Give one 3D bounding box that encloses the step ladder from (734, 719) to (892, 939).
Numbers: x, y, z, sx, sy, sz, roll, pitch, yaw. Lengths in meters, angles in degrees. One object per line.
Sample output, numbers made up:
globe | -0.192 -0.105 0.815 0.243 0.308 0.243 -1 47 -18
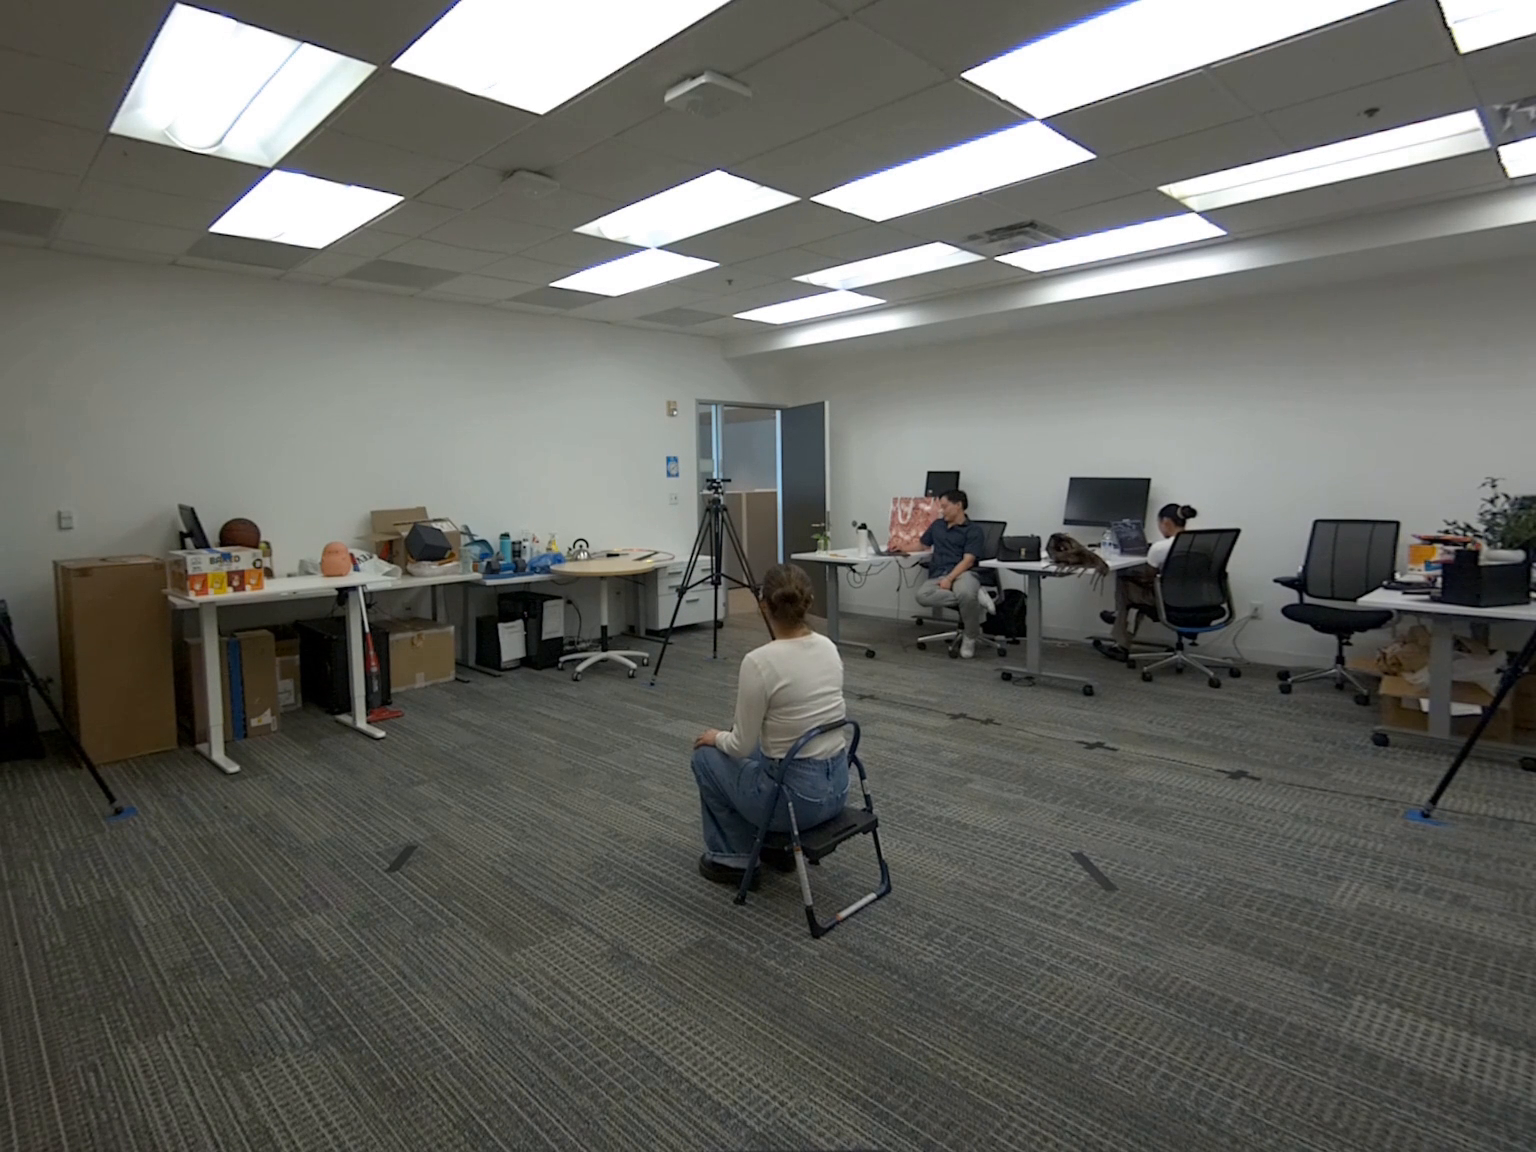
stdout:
step ladder | 0.154 0.768 2.828 0.360 0.604 0.419 3 6 42
